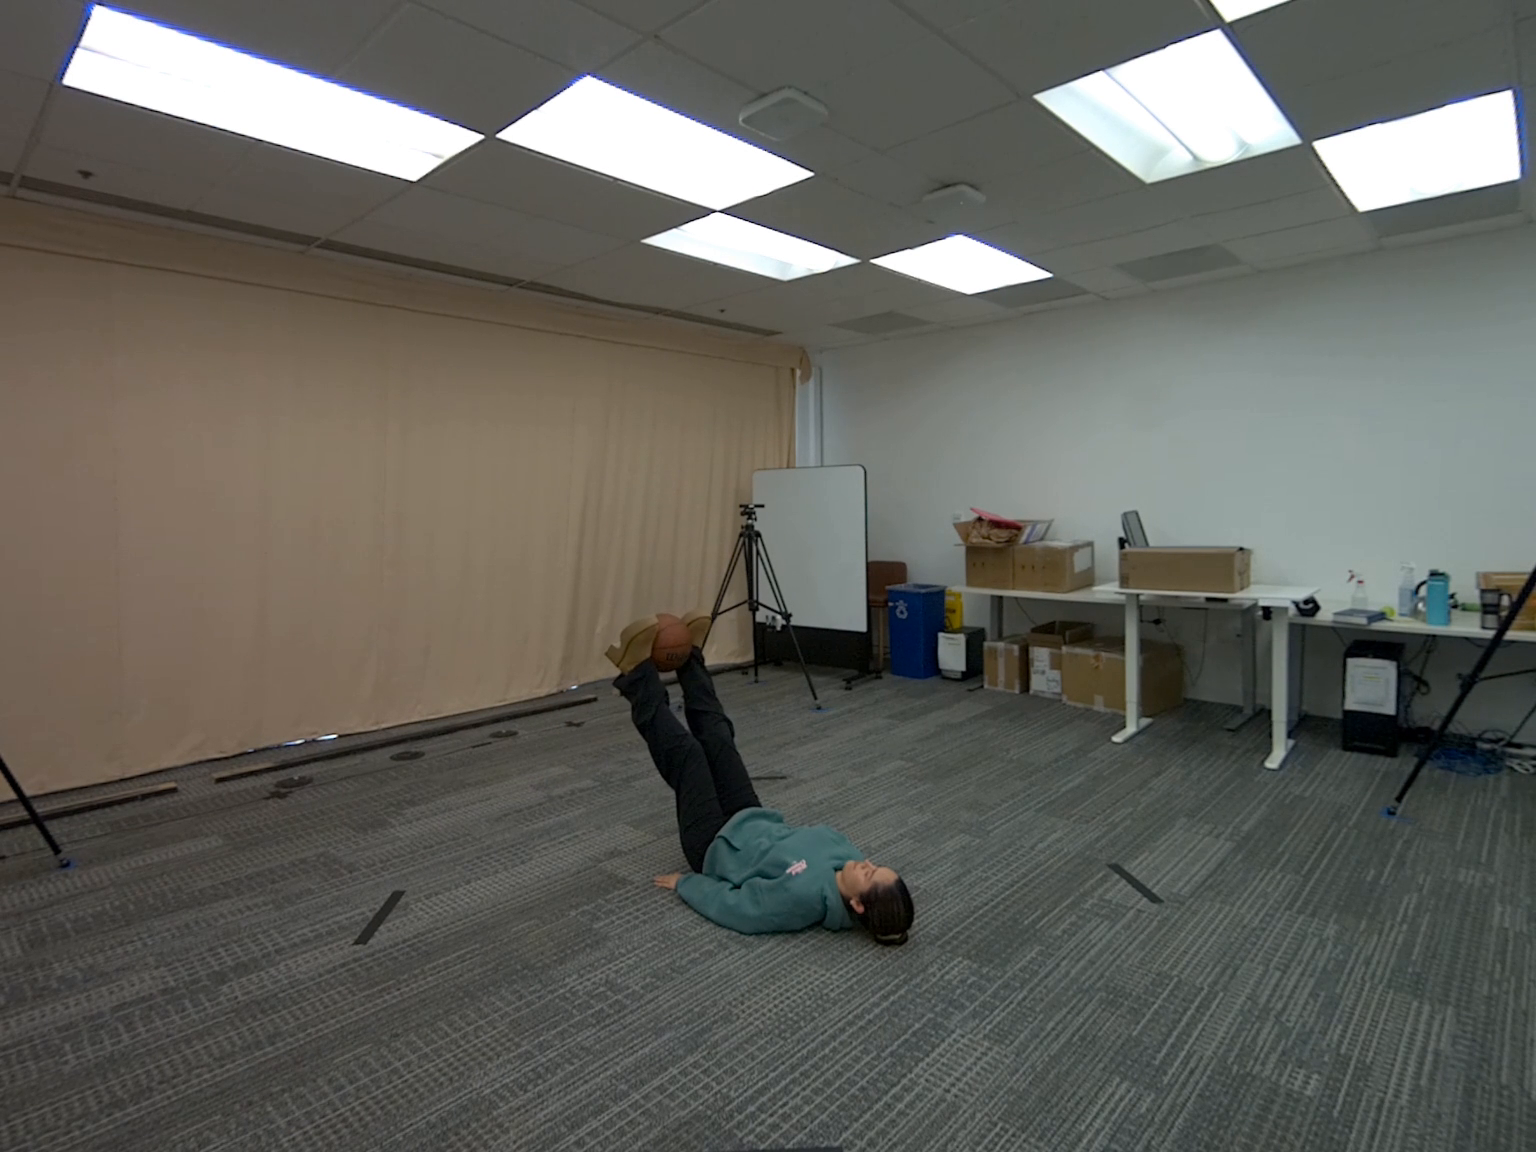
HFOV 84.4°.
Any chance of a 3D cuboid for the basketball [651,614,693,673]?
[{"bbox_3d":[-0.424,0.271,3.392,0.236,0.235,0.237,0,4,-2],"label":"basketball"}]
